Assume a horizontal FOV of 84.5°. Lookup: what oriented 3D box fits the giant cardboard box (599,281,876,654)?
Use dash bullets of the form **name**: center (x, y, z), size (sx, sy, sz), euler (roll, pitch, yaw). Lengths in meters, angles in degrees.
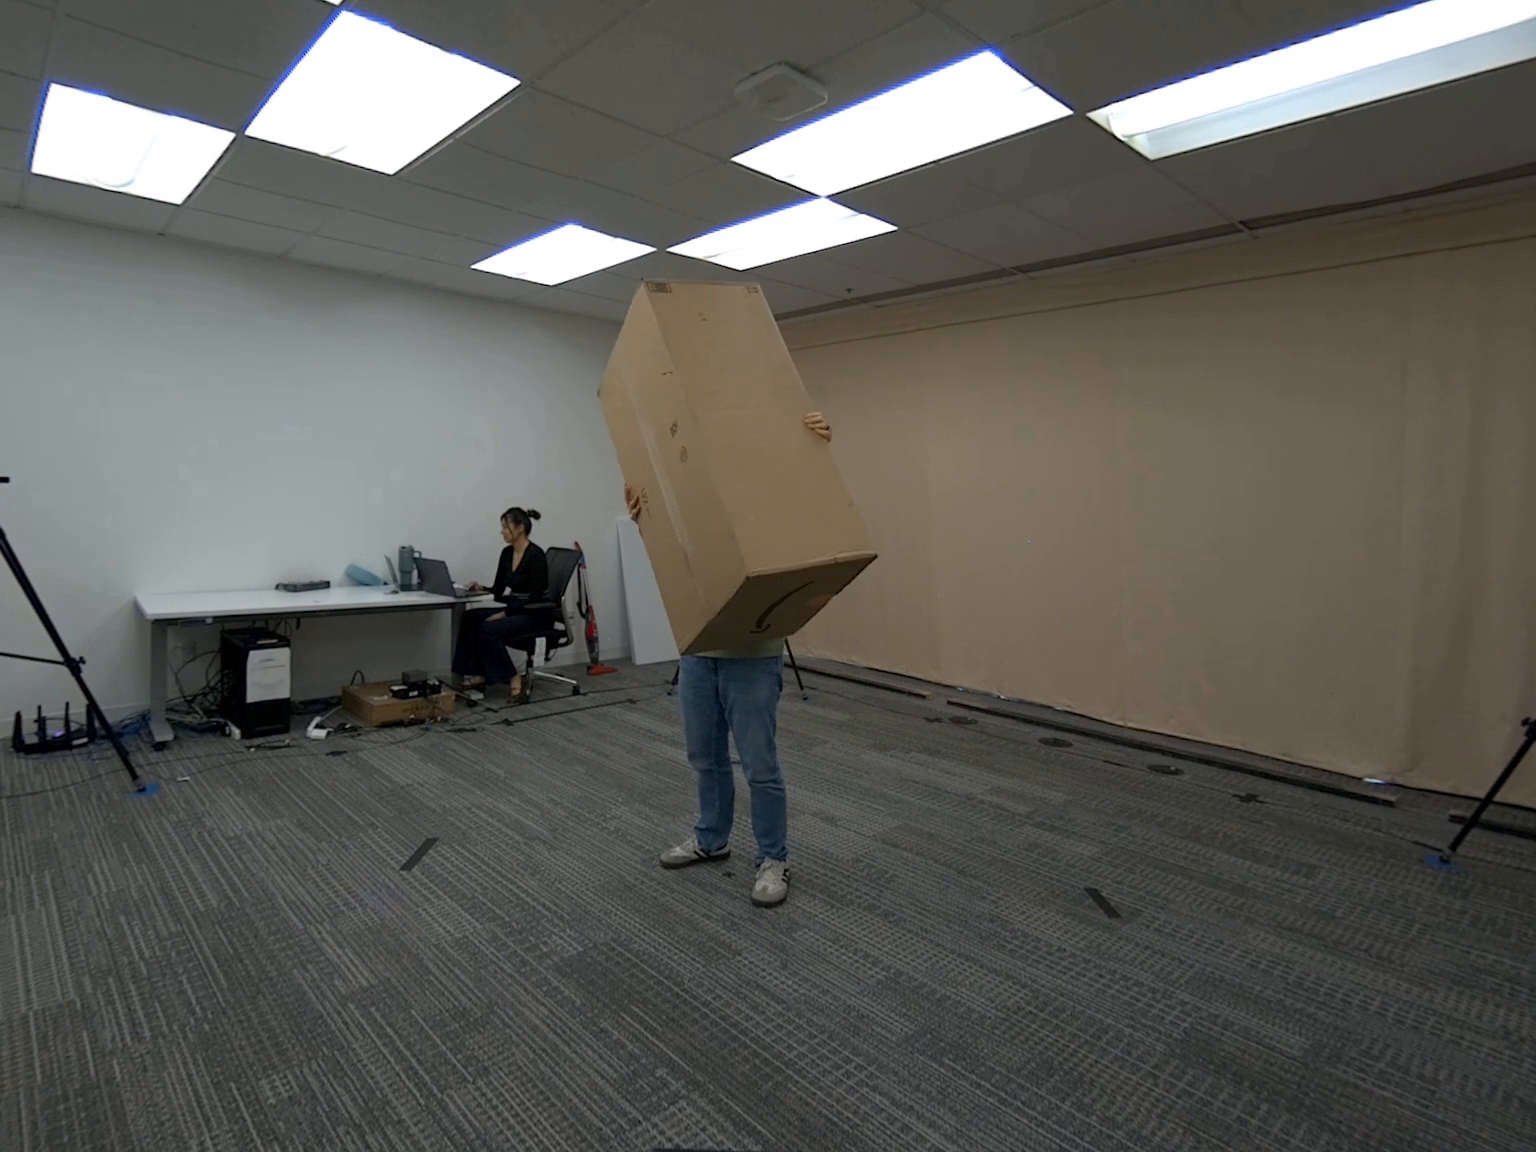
- **giant cardboard box**: center (-0.154, -0.343, 2.681), size (0.419, 1.046, 0.576), euler (-8, -24, -29)
